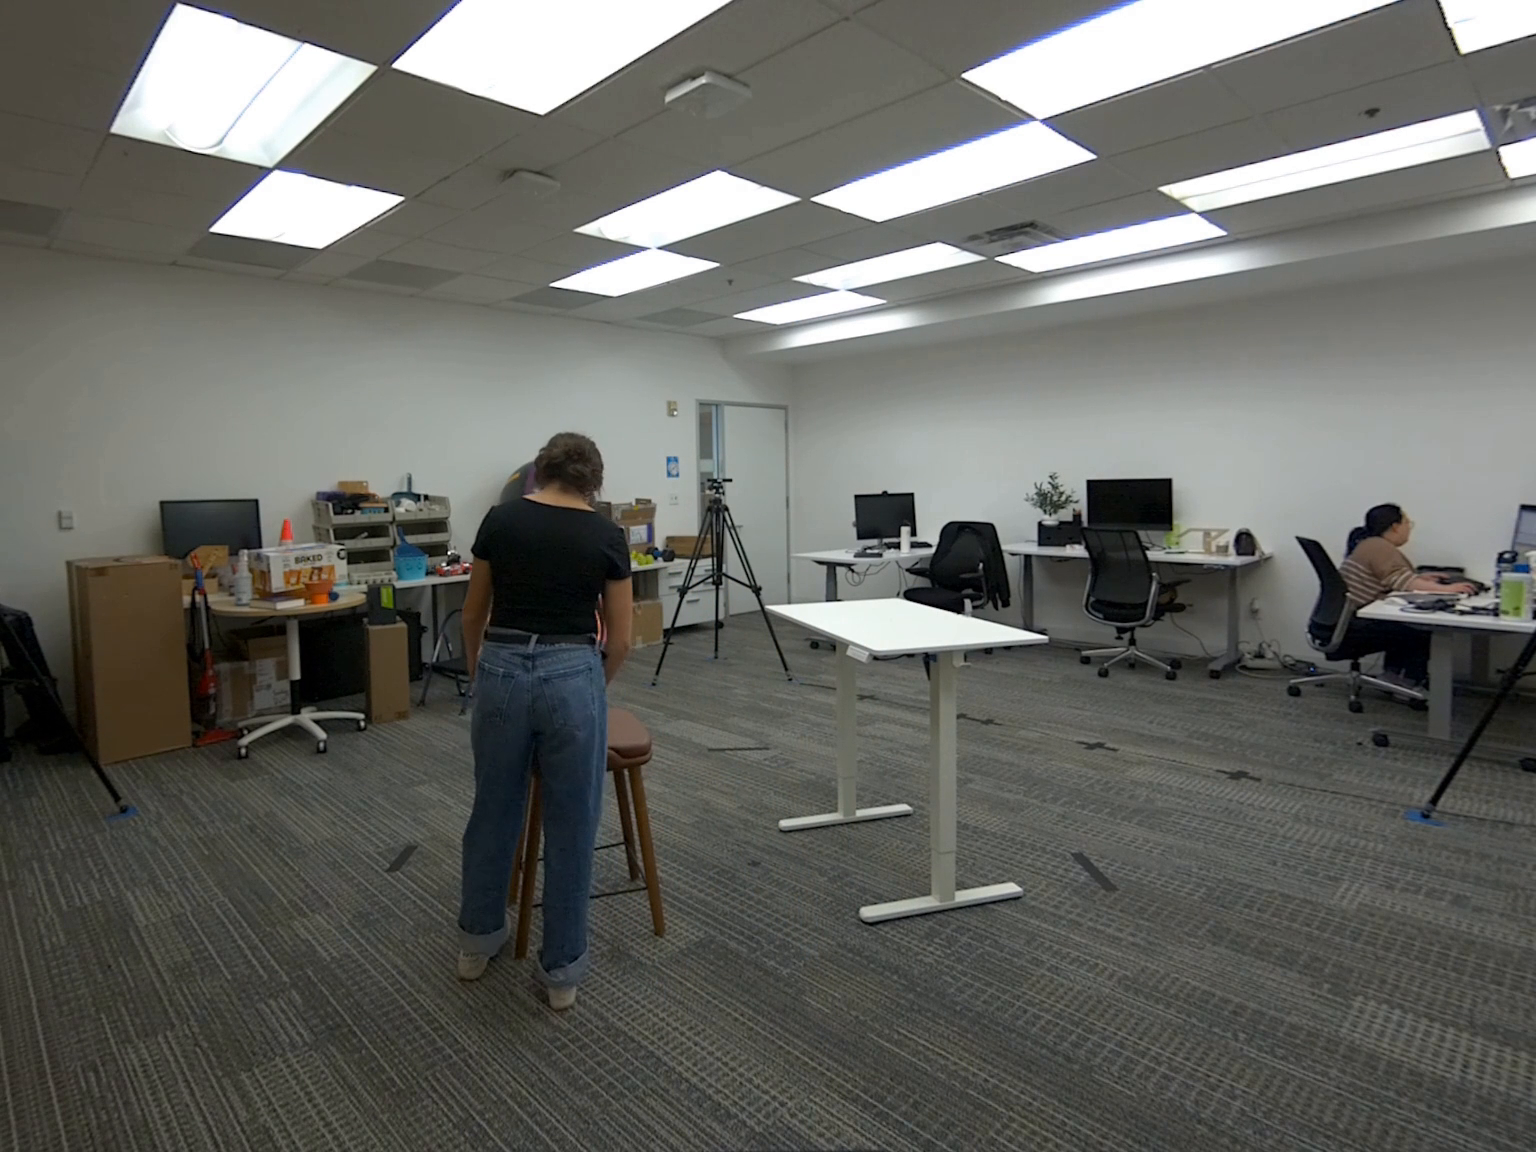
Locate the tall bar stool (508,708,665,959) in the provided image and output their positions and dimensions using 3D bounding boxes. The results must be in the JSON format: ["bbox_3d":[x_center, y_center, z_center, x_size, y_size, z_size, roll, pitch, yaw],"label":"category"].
[{"bbox_3d":[-0.605,0.660,2.726,0.460,0.886,0.466,-5,5,-19],"label":"tall bar stool"}]
